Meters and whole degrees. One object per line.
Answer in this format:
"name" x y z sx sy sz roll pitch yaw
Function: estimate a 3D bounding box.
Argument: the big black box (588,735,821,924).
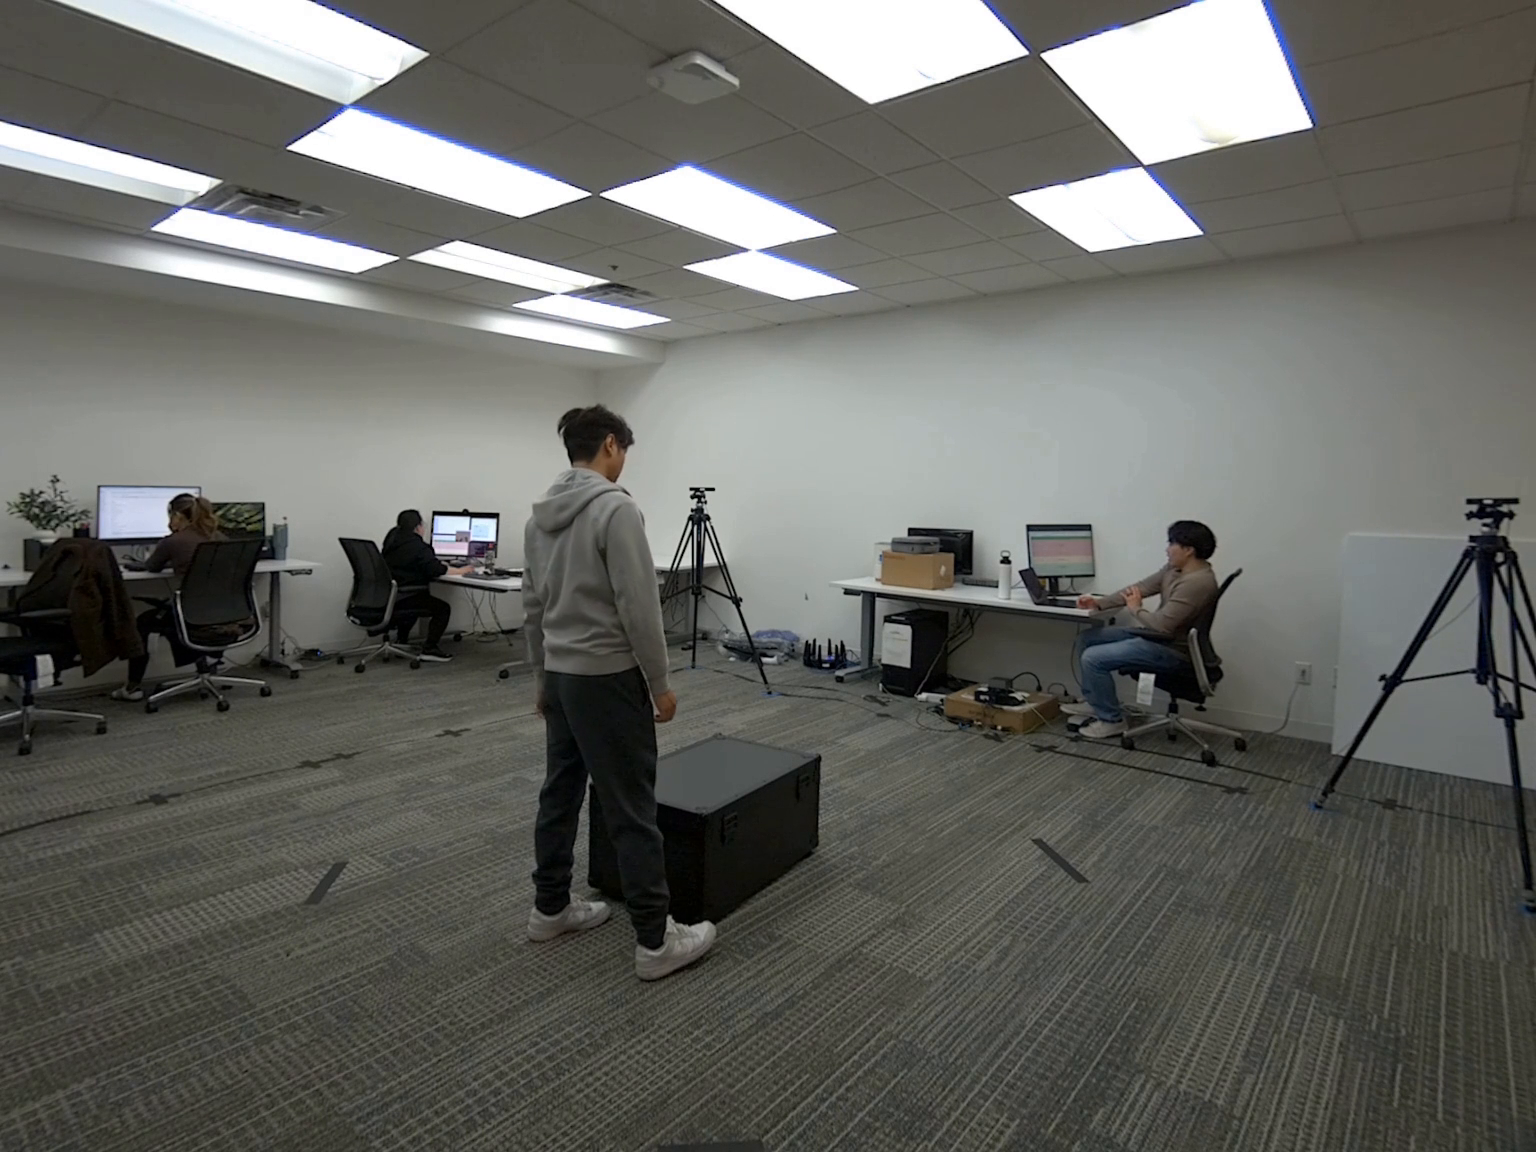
"big black box" -0.192 0.878 3.106 0.537 0.395 0.839 4 6 32
